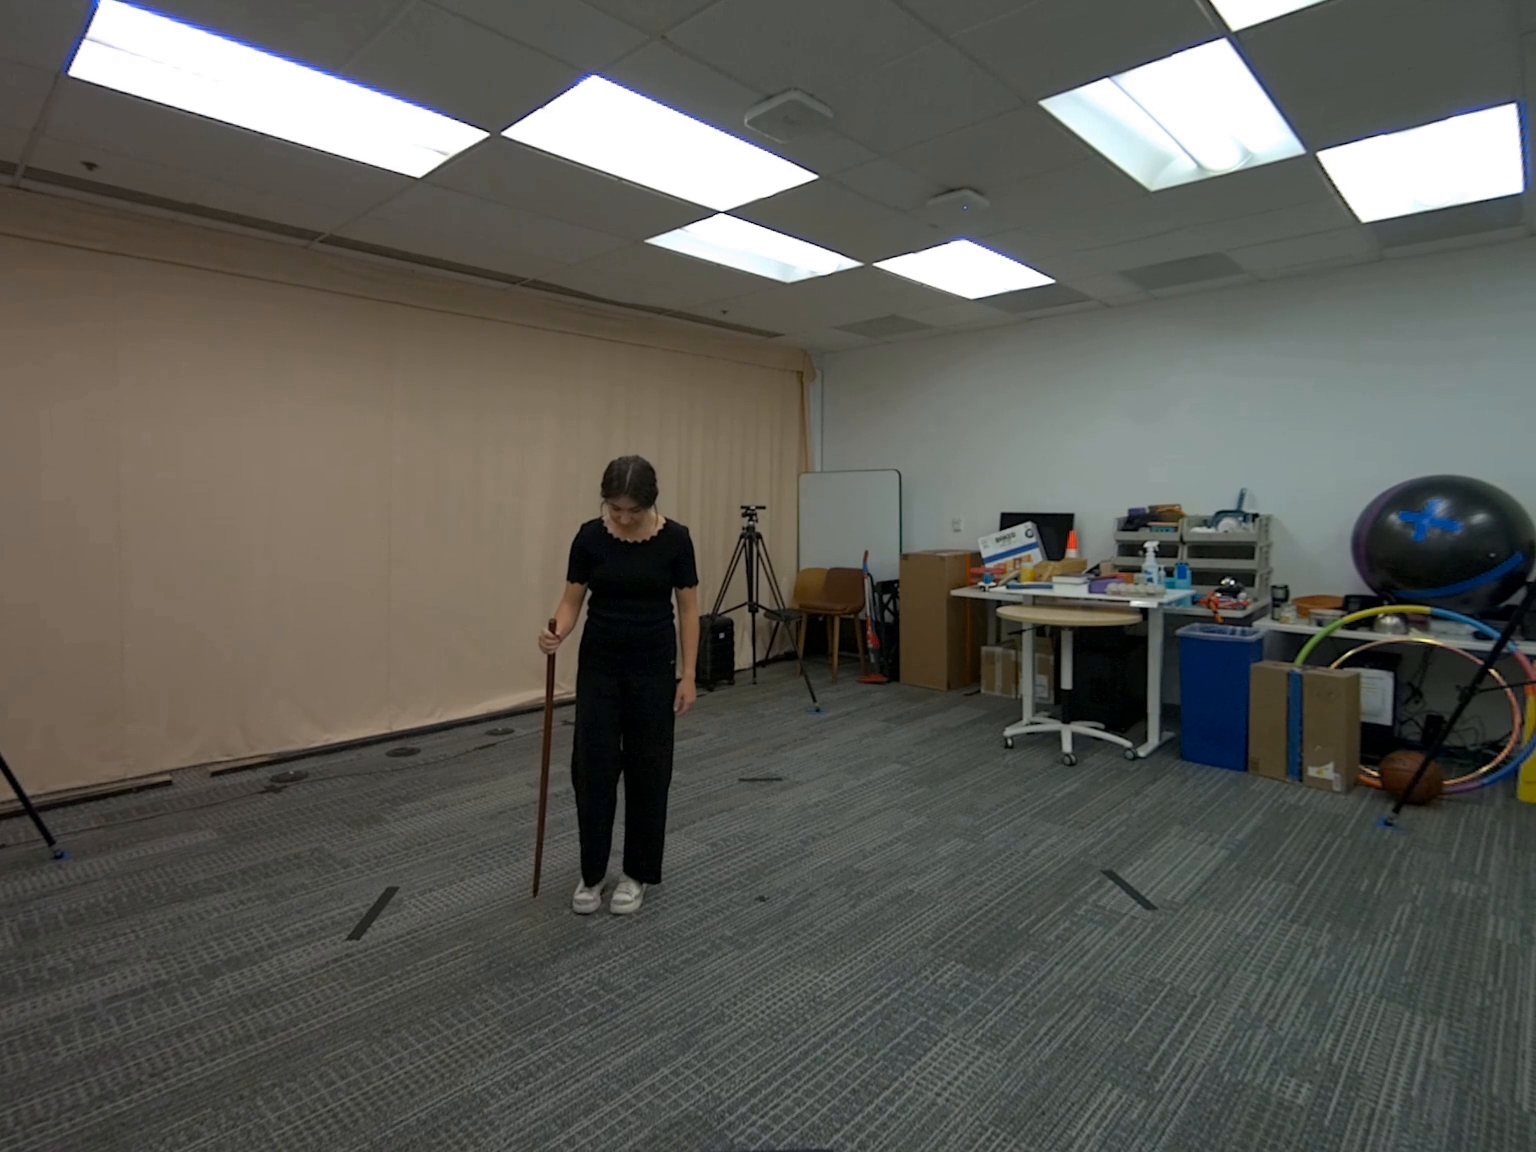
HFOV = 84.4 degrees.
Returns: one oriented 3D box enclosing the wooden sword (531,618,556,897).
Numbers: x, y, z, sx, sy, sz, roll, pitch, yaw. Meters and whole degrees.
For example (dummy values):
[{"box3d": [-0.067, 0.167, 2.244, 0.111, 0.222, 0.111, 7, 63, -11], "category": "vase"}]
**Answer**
[{"box3d": [-0.738, 0.648, 2.795, 0.023, 1.016, 0.053, -5, 20, -36], "category": "wooden sword"}]
